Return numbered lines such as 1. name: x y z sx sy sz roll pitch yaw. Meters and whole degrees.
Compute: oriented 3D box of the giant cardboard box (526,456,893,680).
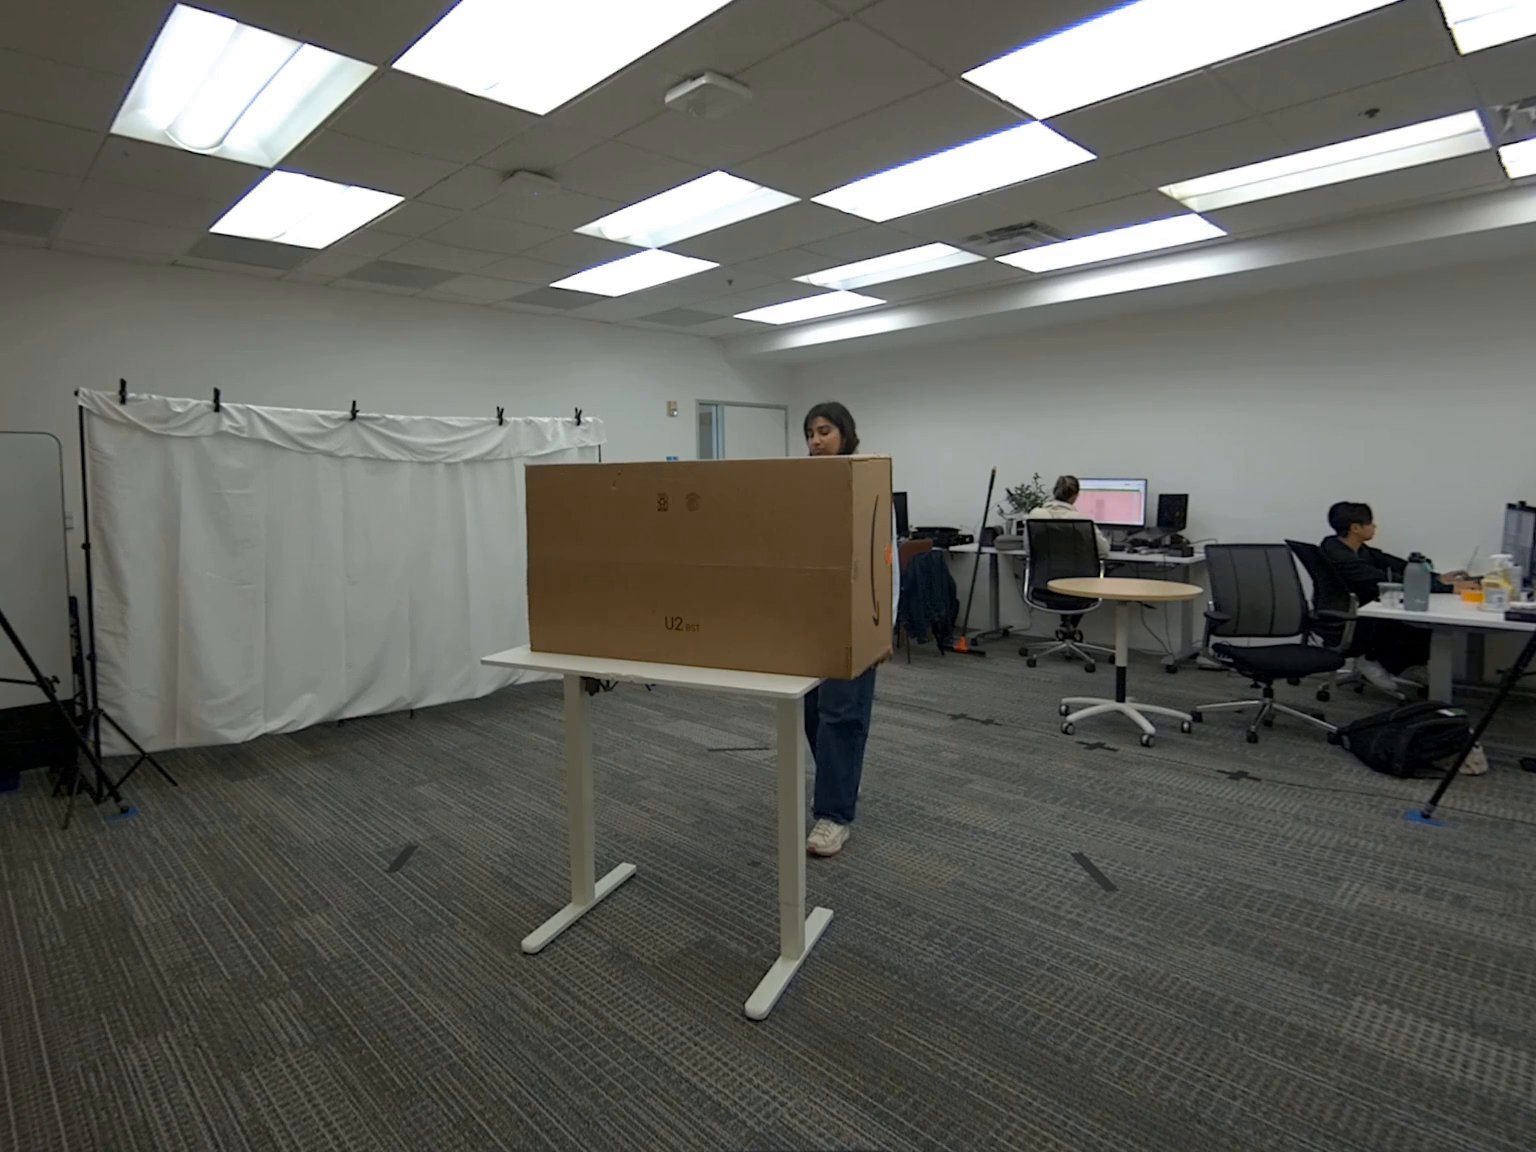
1. giant cardboard box: -0.189 -0.057 2.569 1.050 0.575 0.418 2 6 25
